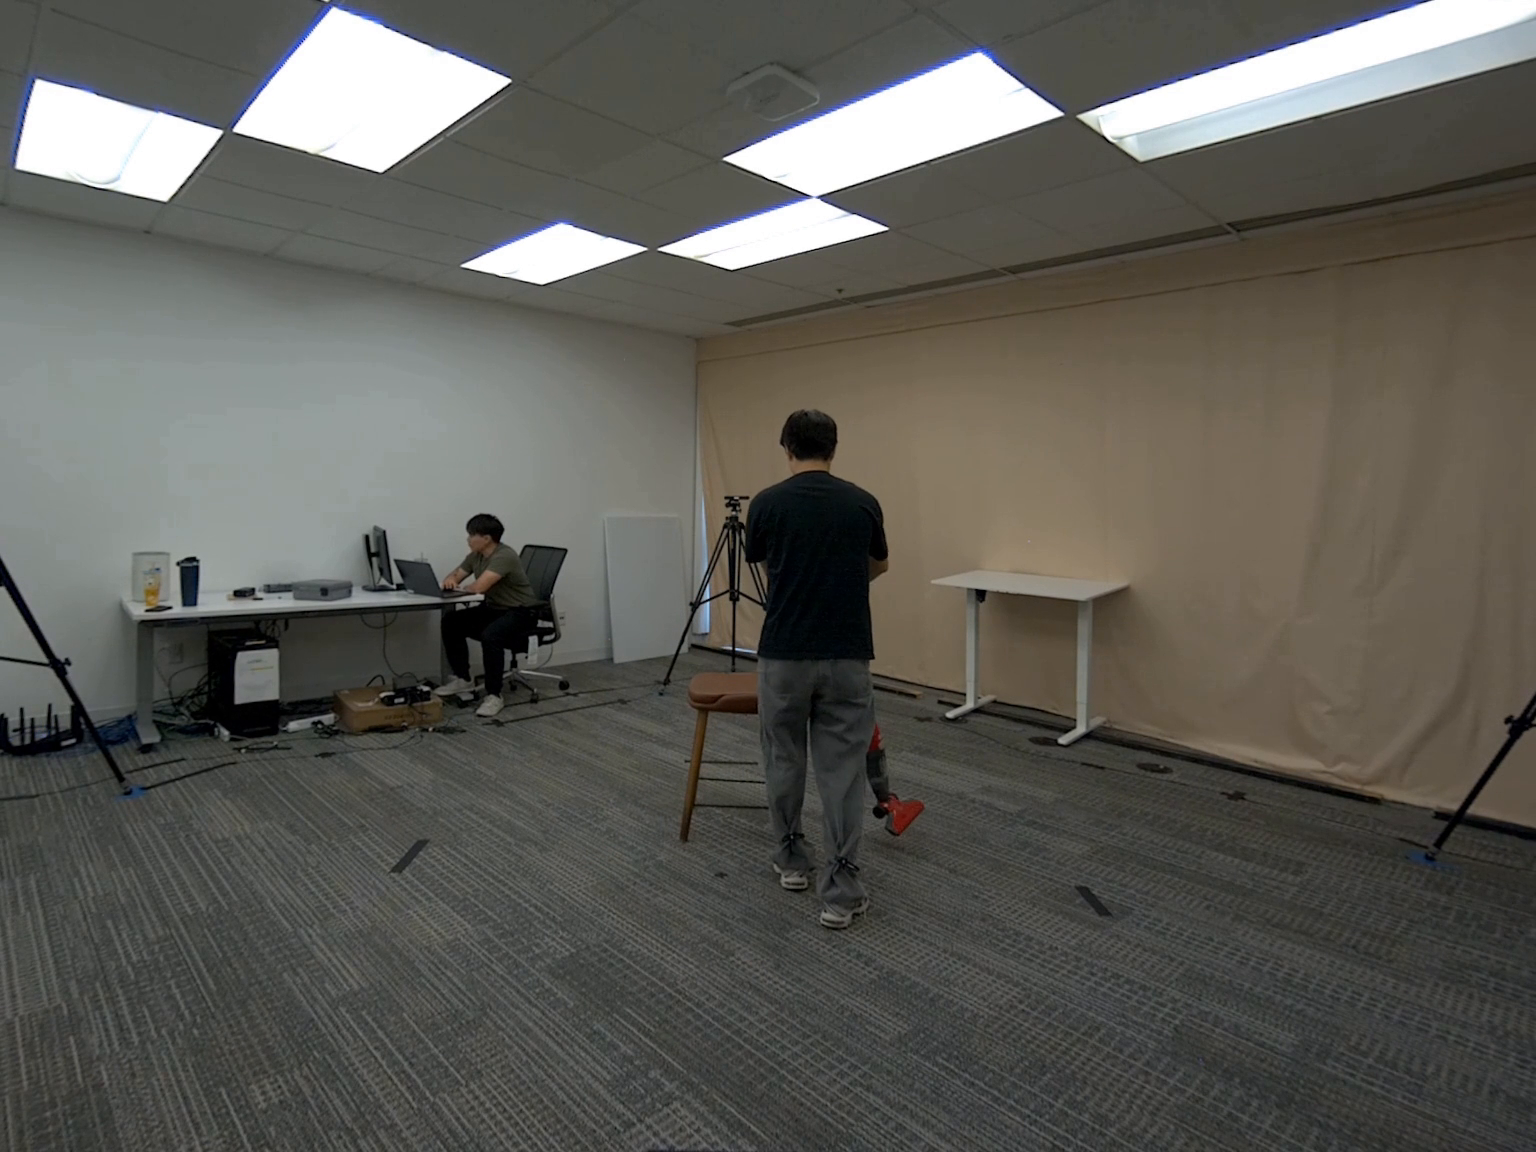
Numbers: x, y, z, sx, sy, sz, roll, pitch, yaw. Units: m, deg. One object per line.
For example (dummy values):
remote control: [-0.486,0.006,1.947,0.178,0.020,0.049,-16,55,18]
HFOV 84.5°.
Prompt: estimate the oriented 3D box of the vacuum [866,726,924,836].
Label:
vacuum: [0.332,0.474,3.396,0.146,1.052,0.248,-21,-3,38]
